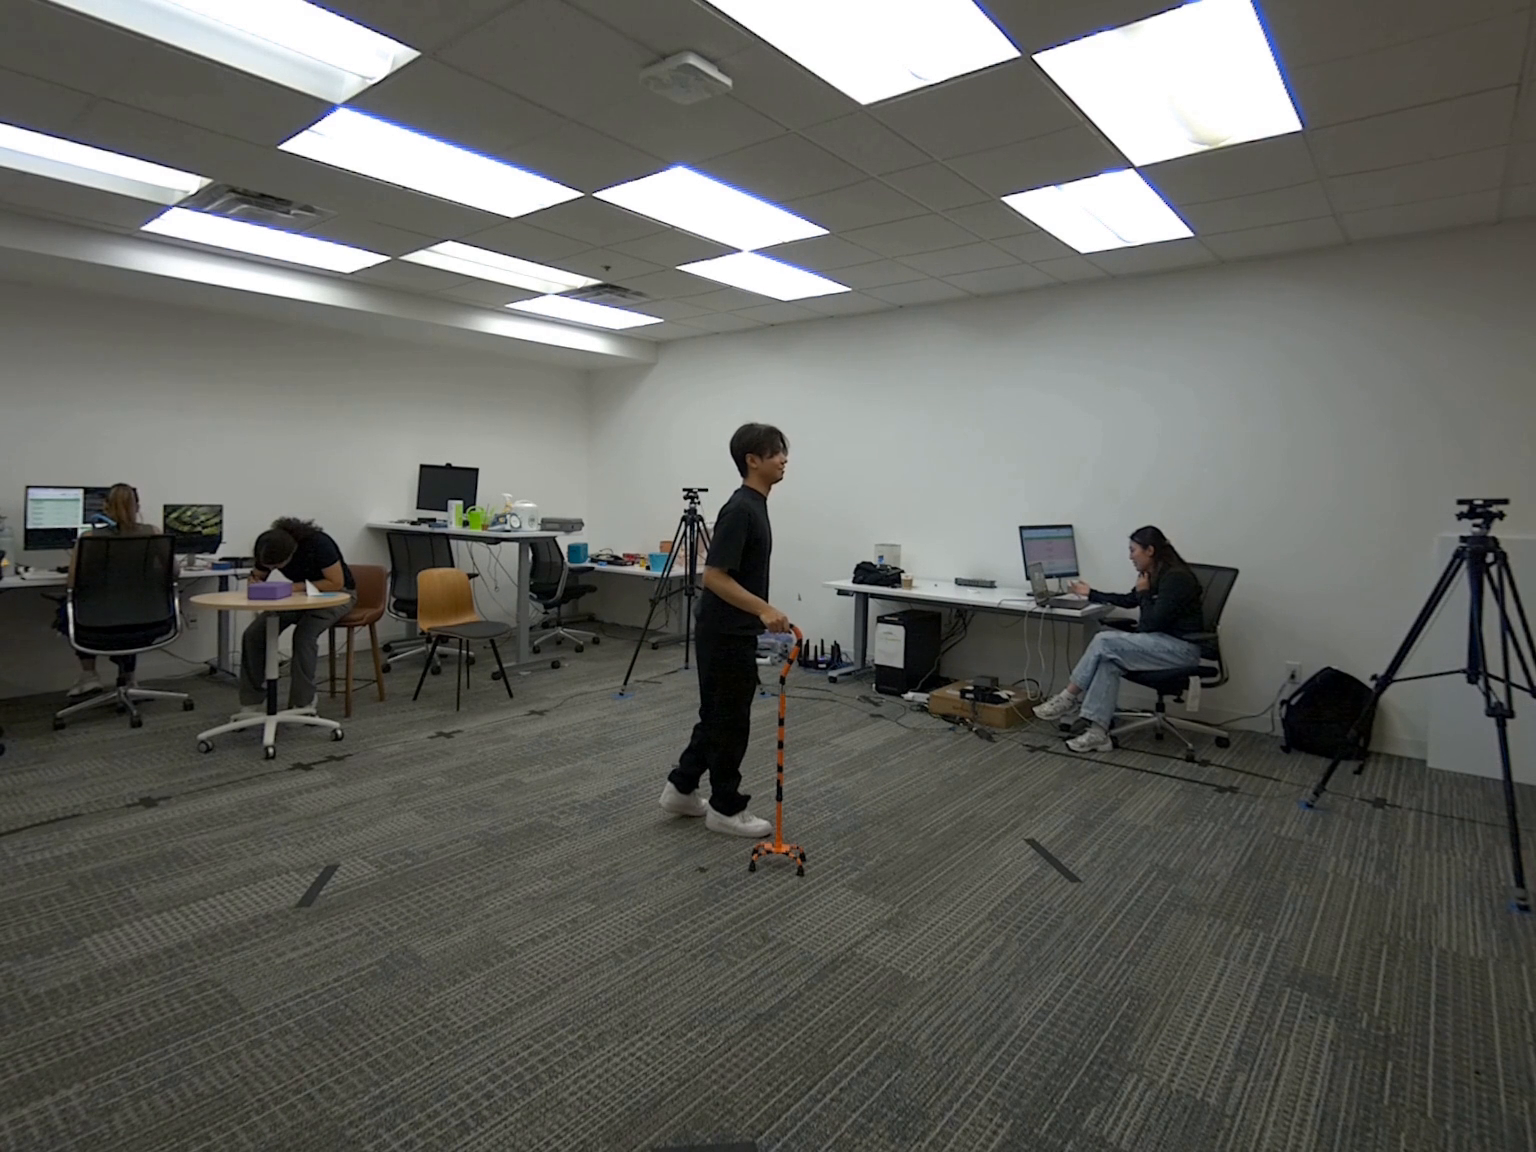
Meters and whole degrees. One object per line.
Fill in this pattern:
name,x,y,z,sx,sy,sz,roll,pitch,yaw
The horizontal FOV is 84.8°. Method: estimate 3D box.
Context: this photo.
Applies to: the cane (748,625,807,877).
cane,0.047,0.627,3.130,0.208,0.906,0.151,3,2,5
